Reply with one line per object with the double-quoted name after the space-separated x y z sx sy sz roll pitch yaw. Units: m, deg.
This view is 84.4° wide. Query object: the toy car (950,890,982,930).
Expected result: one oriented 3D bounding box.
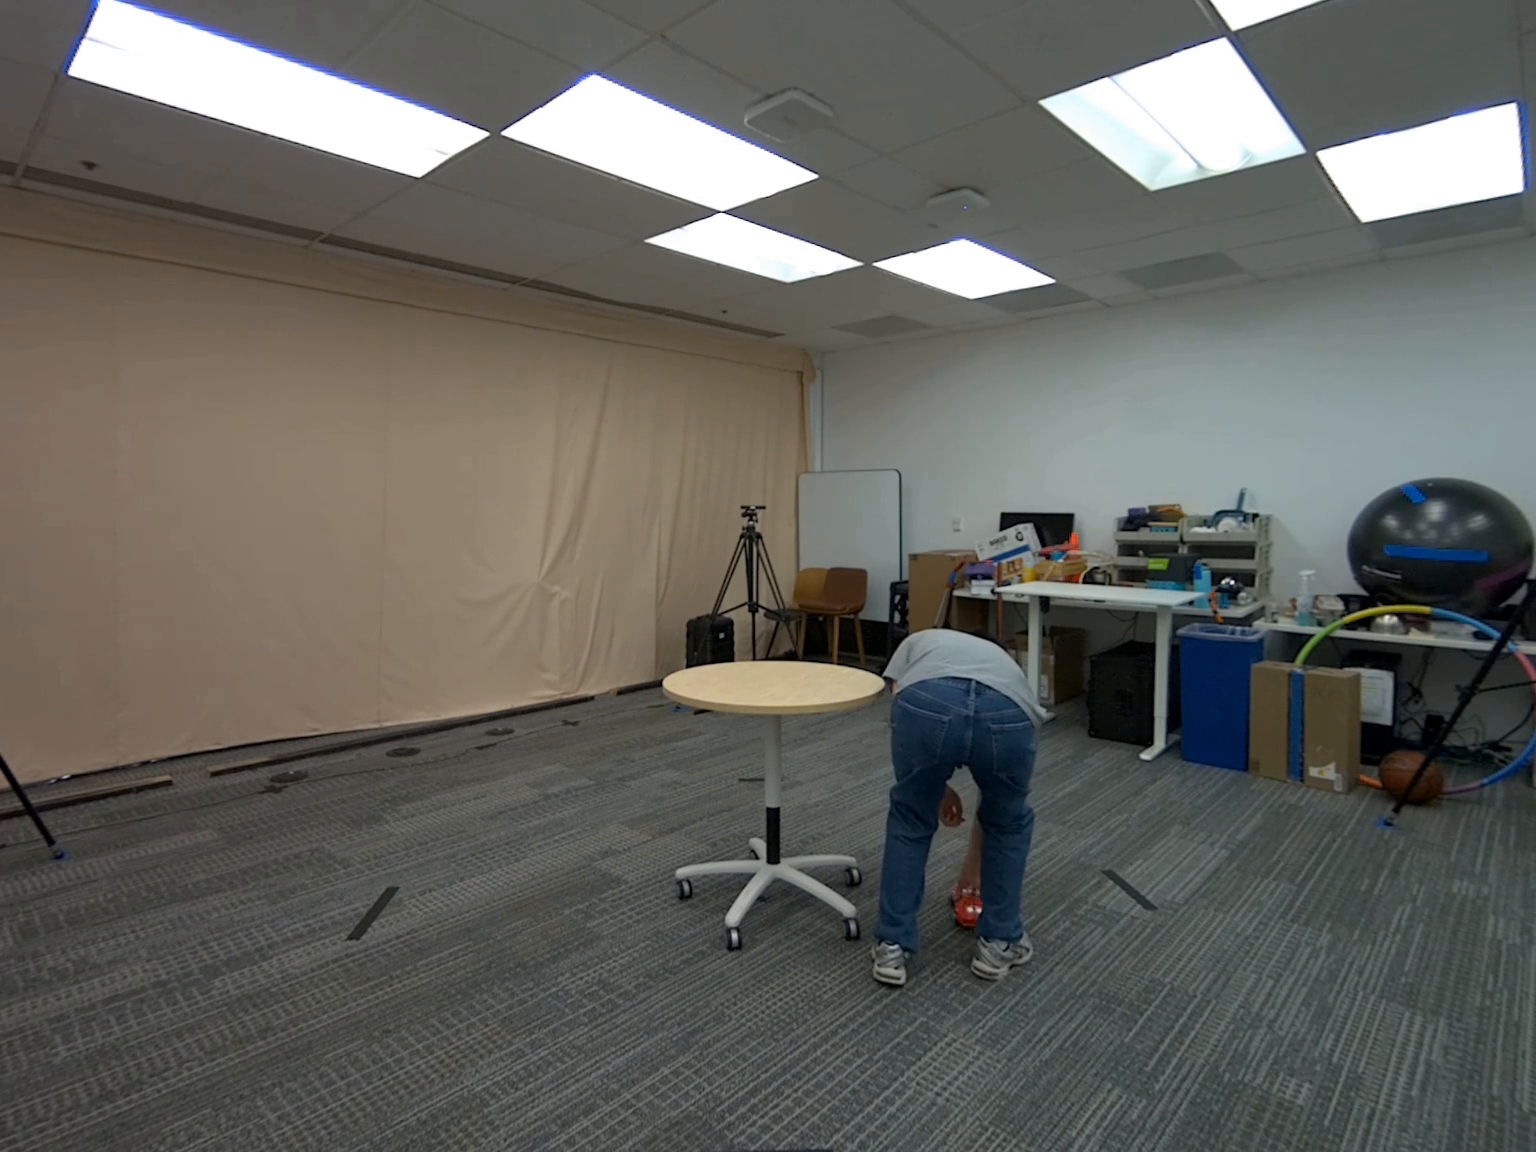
0.690 1.123 2.830 0.131 0.083 0.251 -1 -5 6 "toy car"
